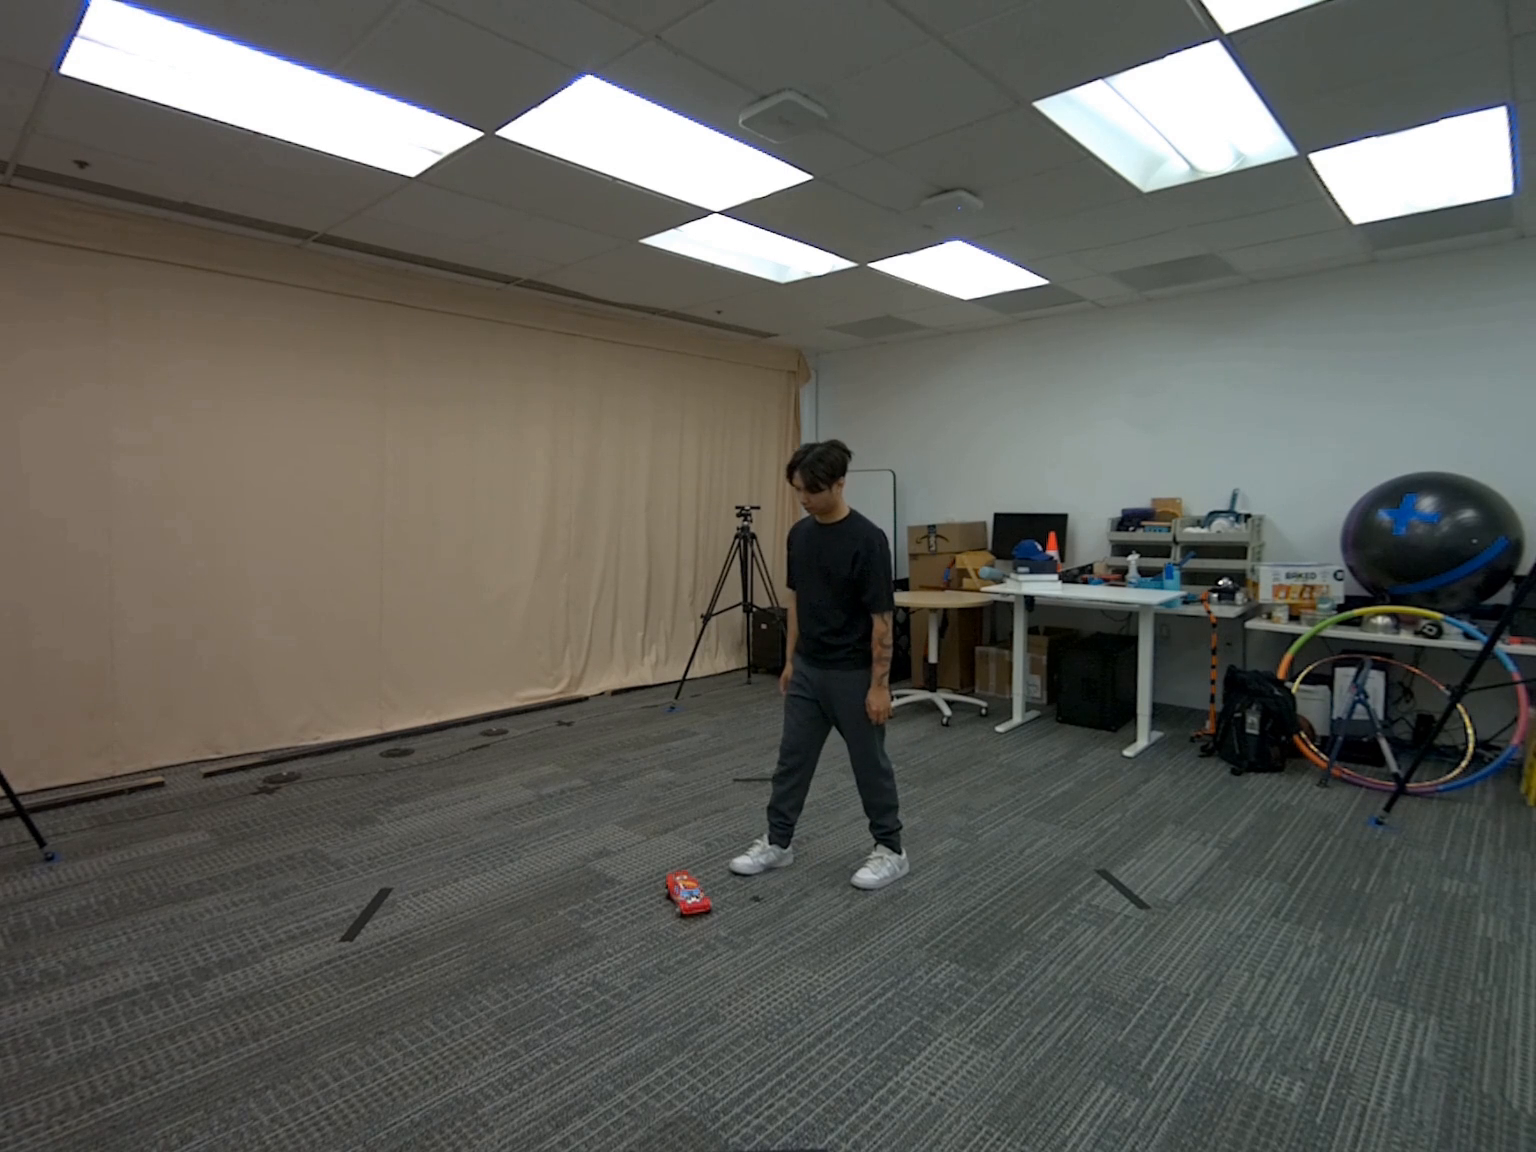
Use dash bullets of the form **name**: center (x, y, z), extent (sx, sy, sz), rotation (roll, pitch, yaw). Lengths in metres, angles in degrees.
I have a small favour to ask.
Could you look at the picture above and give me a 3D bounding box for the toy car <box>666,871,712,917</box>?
- **toy car**: center (-0.286, 1.119, 2.960), extent (0.128, 0.082, 0.261), rotation (-3, 16, -20)
